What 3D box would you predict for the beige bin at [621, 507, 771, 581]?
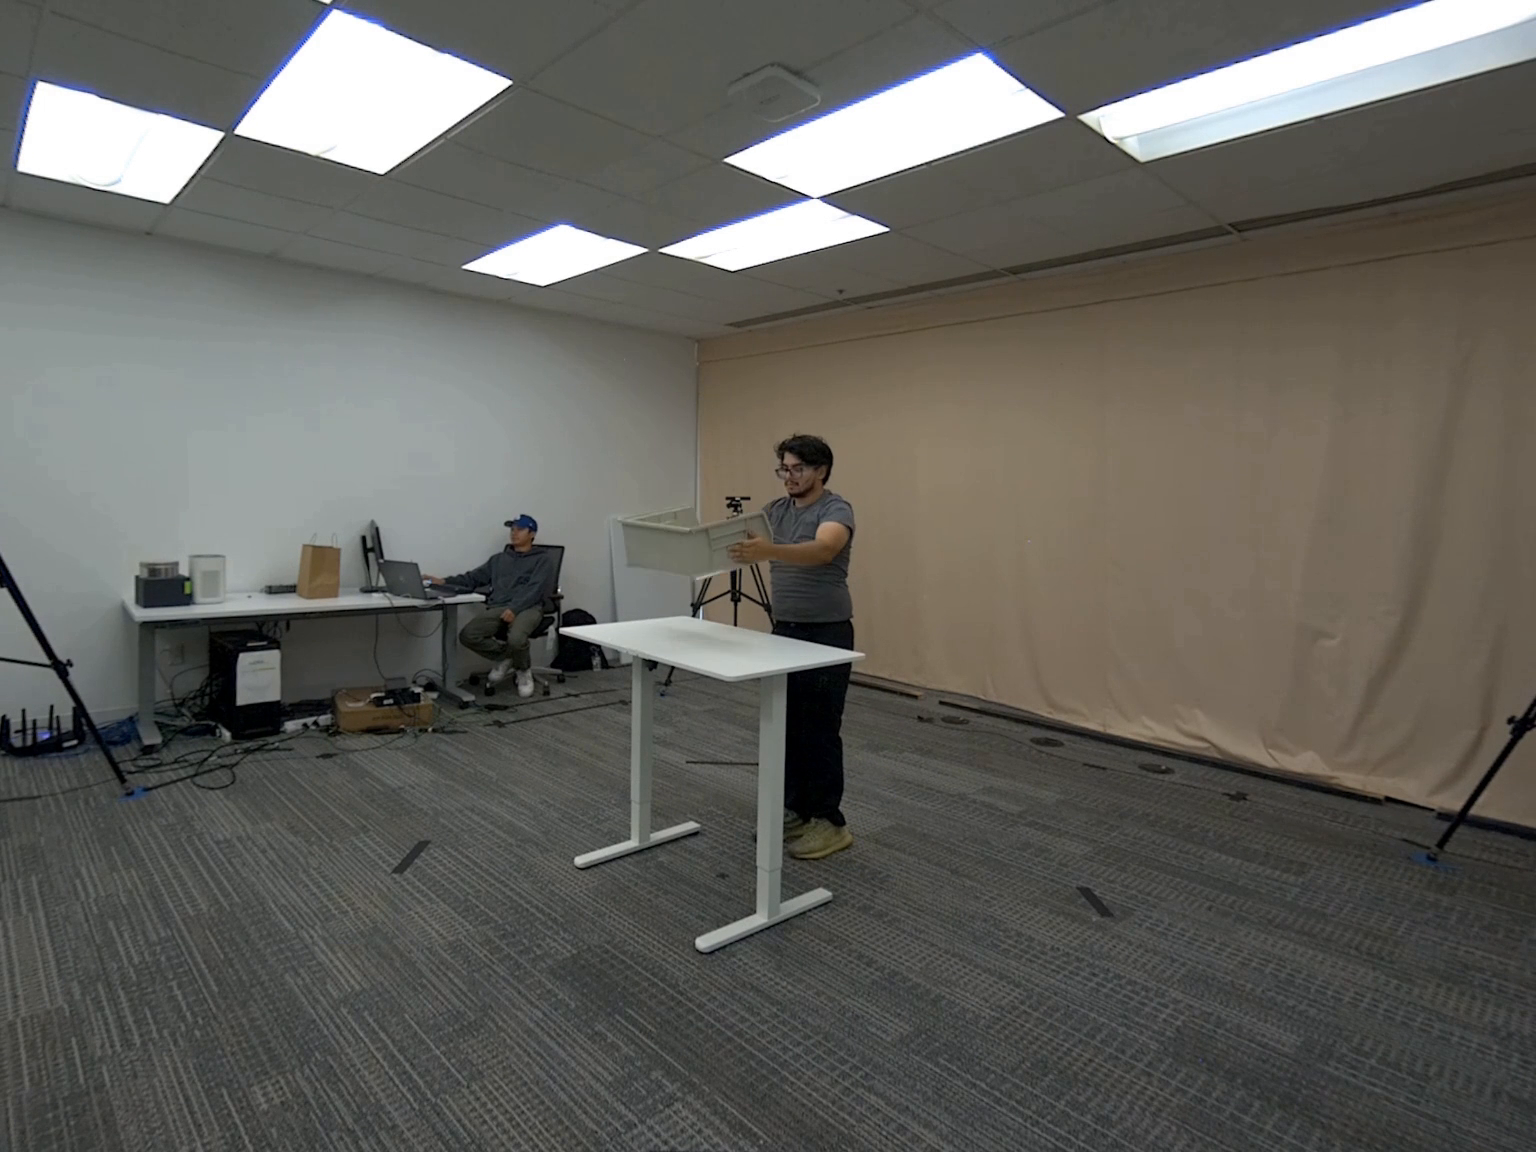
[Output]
[{"bbox_3d":[-0.265,-0.140,3.013,0.371,0.187,0.434,-18,19,-41],"label":"beige bin"}]
